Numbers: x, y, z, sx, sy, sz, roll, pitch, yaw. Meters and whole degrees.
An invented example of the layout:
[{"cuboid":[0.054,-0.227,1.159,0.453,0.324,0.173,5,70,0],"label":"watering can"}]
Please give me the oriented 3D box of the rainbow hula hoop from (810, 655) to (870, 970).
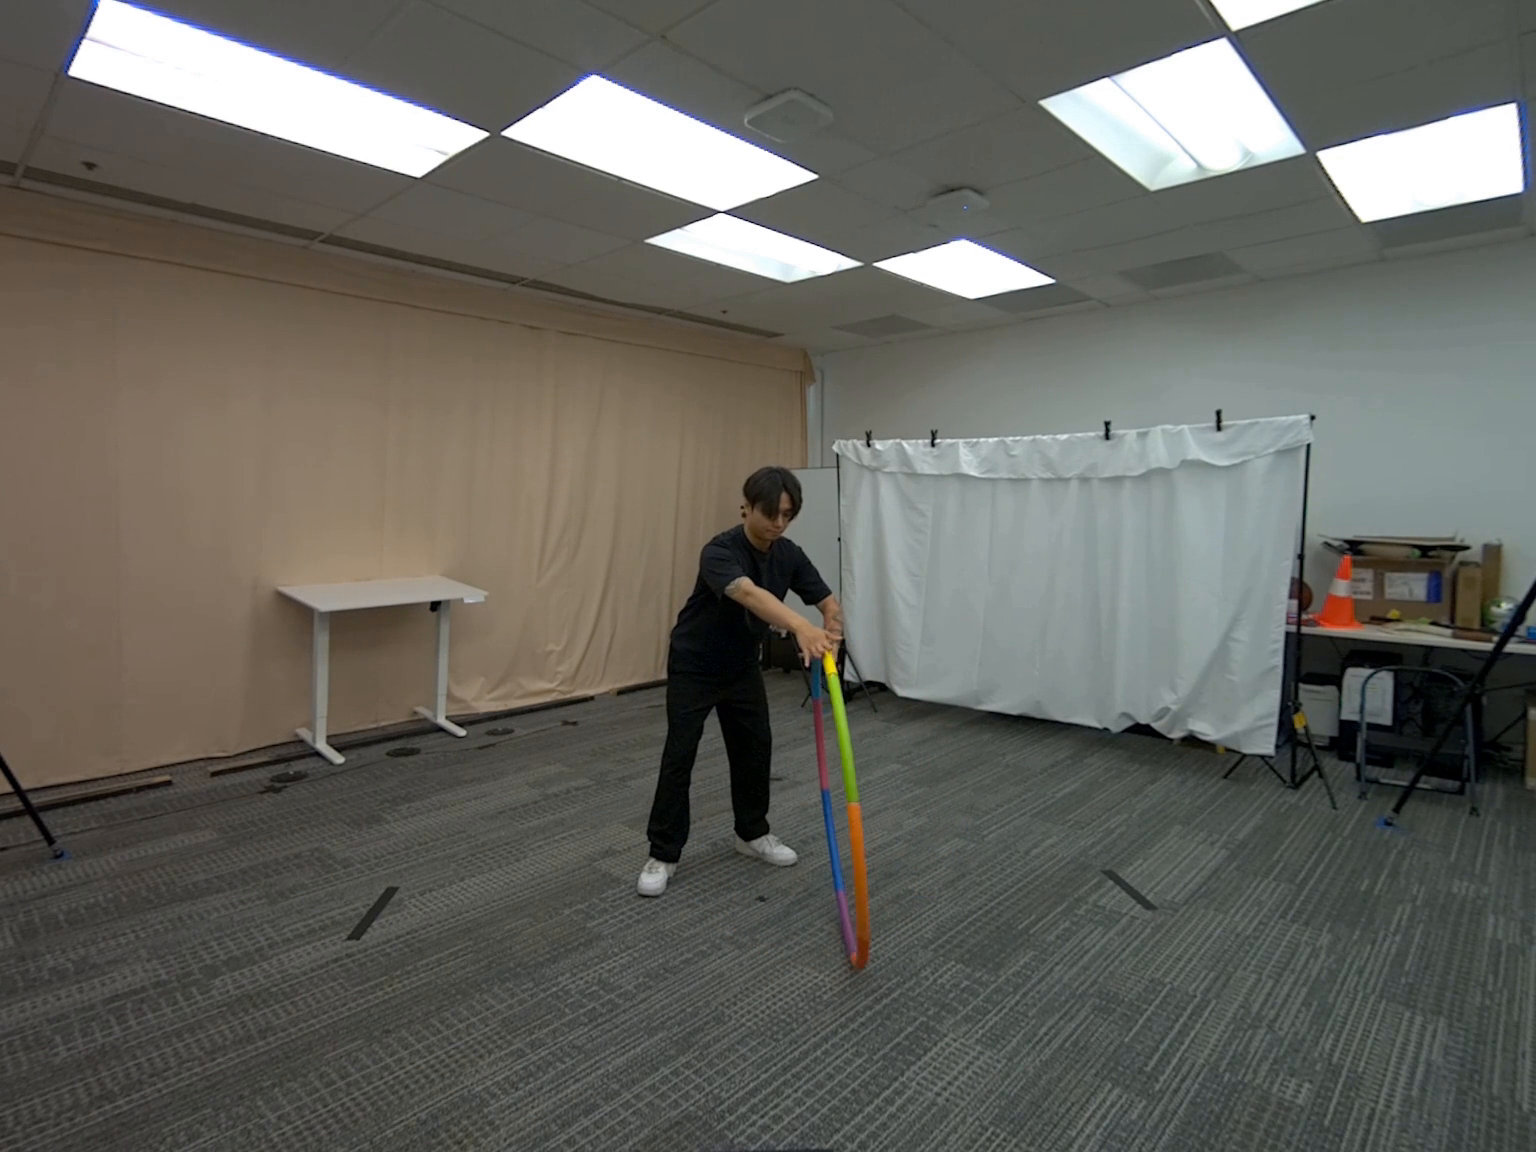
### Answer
[{"cuboid":[0.218,0.694,2.638,0.035,0.976,0.979,-7,4,0],"label":"rainbow hula hoop"}]
